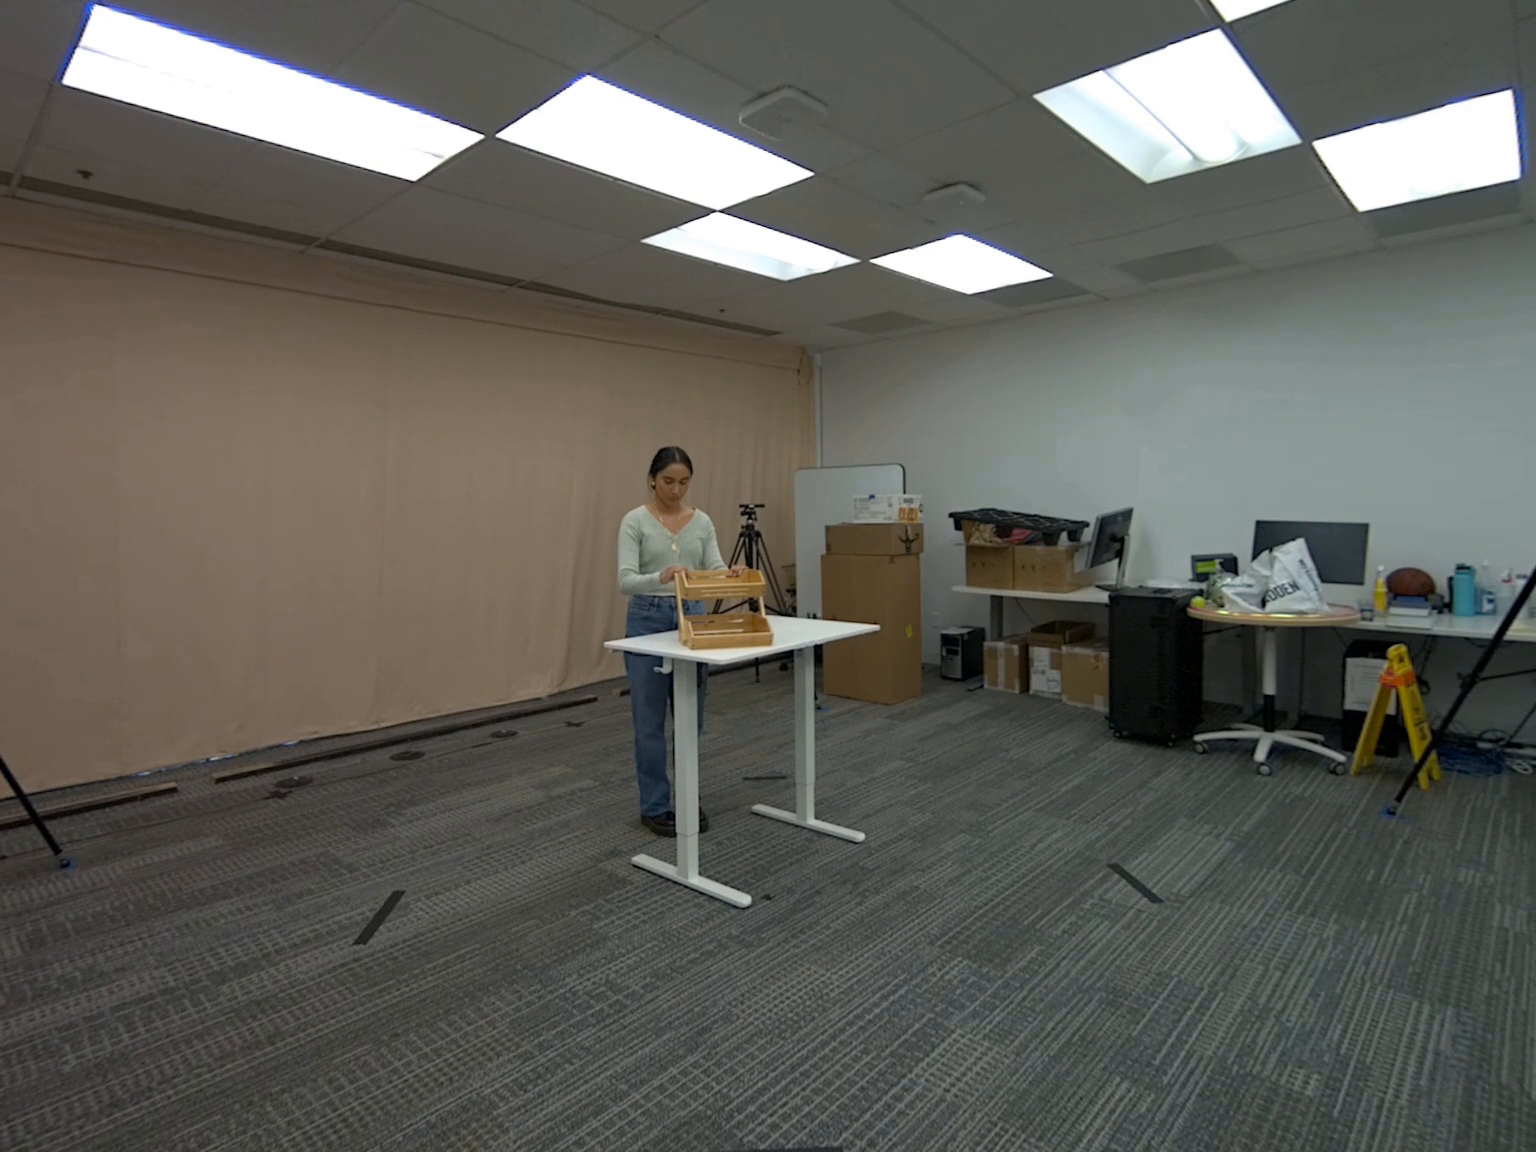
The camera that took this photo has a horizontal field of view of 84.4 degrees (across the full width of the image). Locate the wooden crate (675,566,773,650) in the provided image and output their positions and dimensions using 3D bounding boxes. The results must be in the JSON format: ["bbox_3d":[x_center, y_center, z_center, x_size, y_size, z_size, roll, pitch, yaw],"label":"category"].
[{"bbox_3d":[-0.163,0.114,3.128,0.319,0.273,0.307,-1,3,-15],"label":"wooden crate"}]
